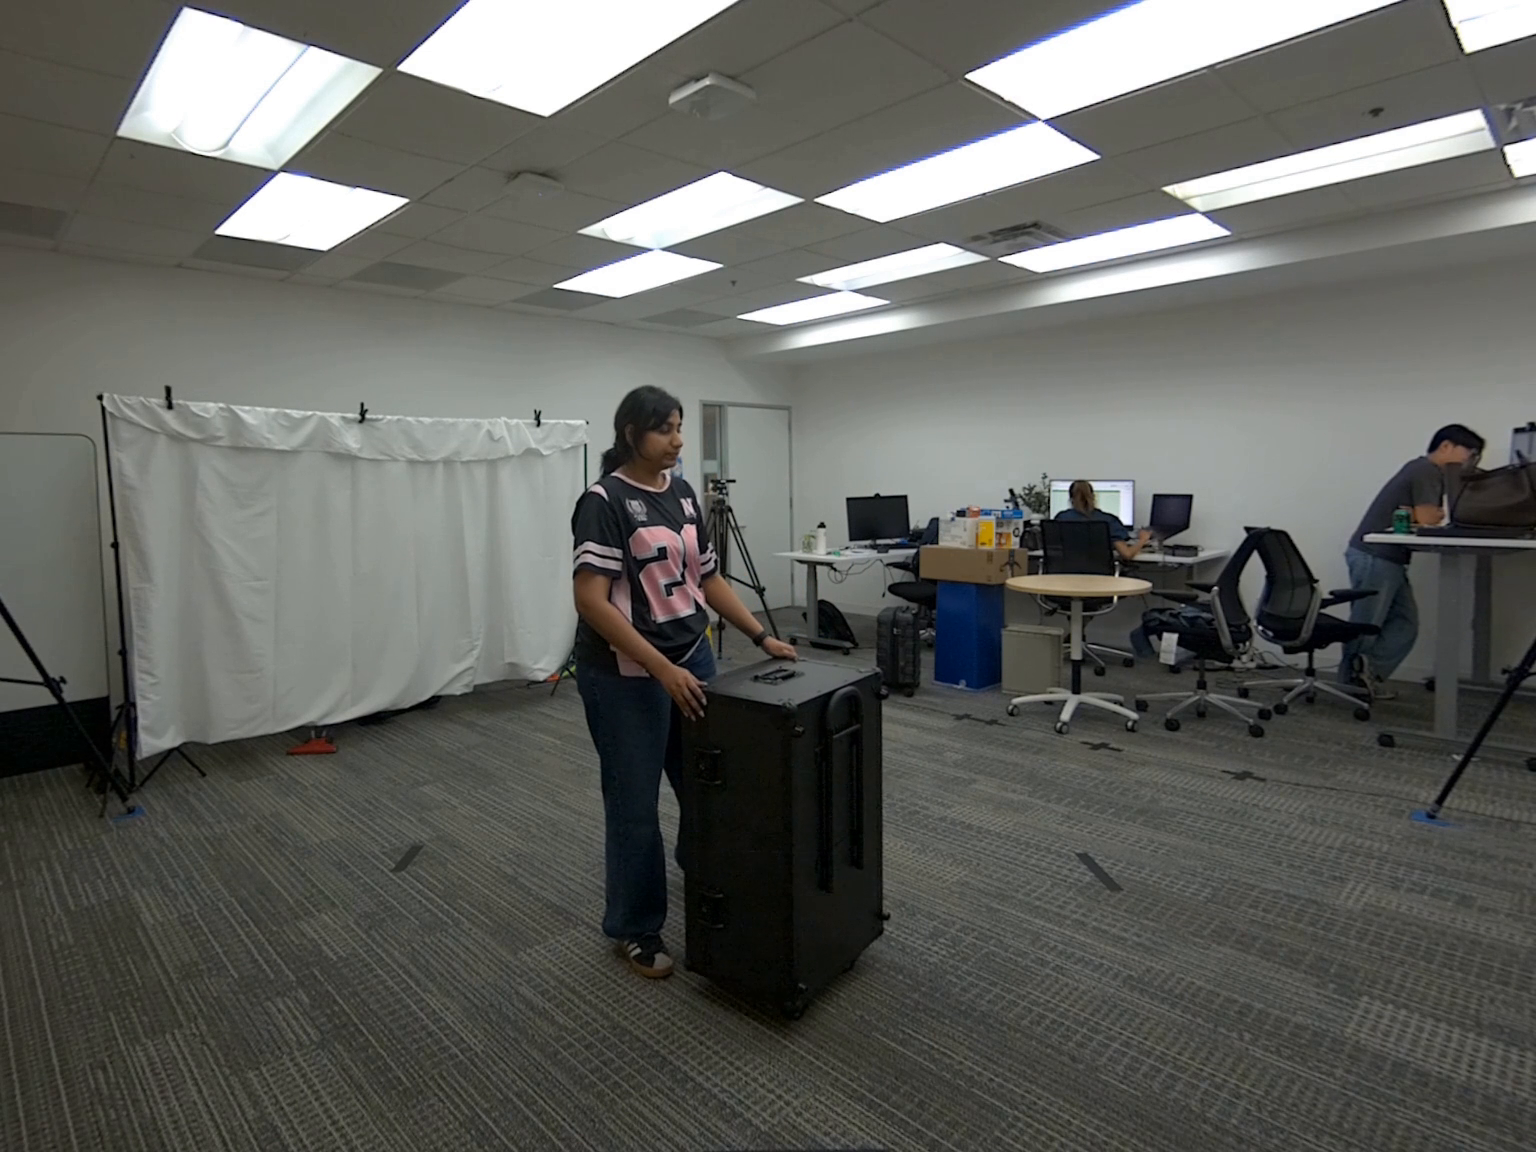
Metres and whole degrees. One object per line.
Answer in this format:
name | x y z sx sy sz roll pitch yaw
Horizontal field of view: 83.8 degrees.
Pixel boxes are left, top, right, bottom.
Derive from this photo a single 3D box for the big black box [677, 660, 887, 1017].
big black box | 0.068 0.707 2.384 0.396 0.865 0.511 2 5 34
